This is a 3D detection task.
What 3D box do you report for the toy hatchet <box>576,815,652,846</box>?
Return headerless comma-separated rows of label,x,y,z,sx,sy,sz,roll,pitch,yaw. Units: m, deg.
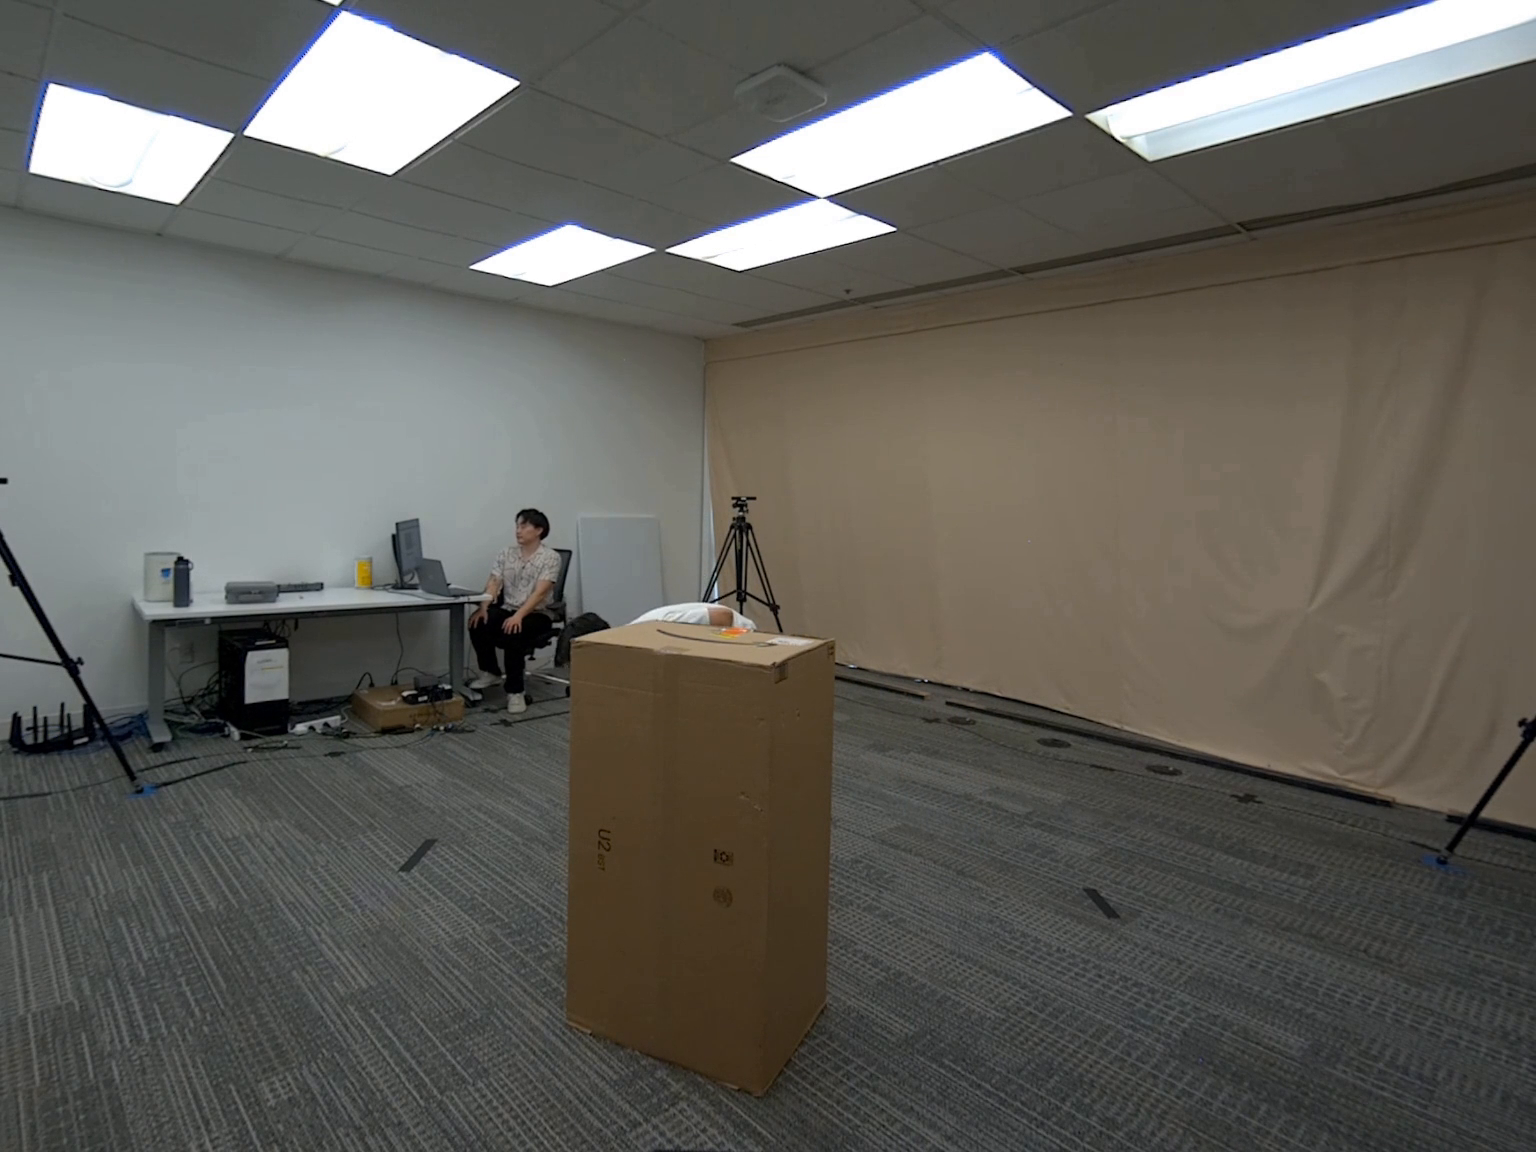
toy hatchet,-0.627,1.027,3.430,0.274,0.029,0.130,1,10,21
